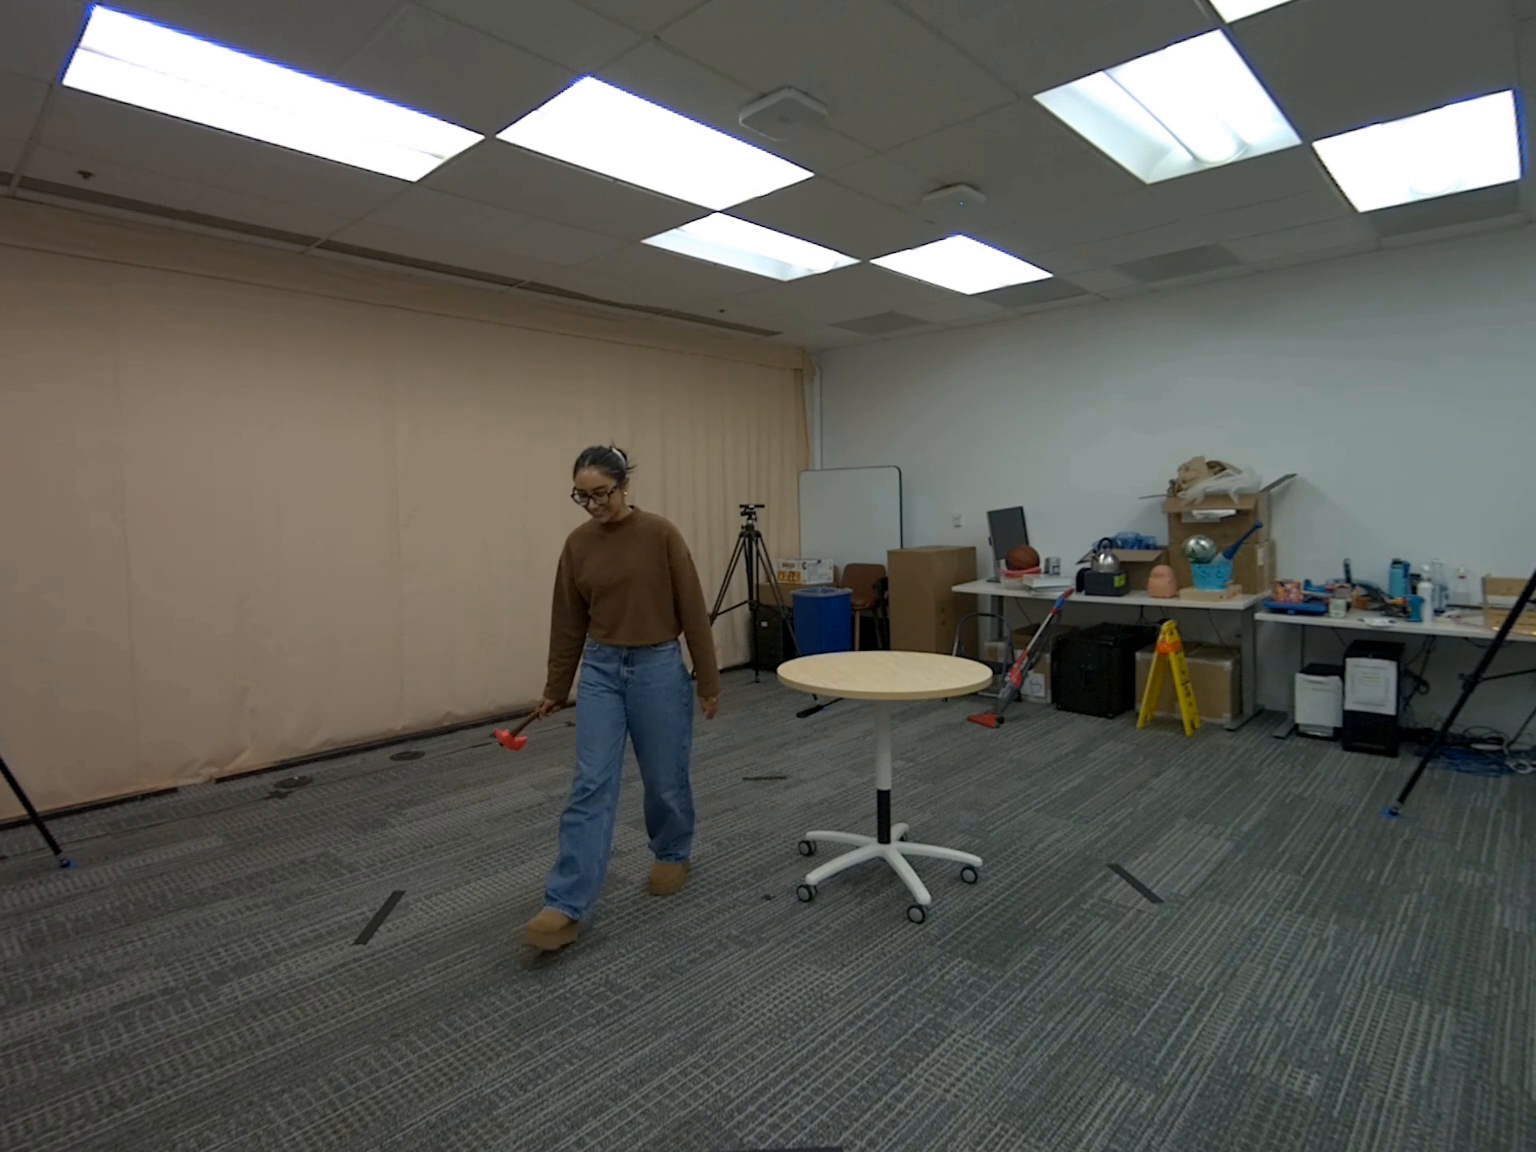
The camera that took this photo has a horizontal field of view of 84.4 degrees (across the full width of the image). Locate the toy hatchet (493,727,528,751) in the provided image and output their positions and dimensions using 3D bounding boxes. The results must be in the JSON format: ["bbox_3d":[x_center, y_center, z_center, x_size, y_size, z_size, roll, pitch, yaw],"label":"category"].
[{"bbox_3d":[-0.835,0.535,2.994,0.268,0.128,0.030,-19,24,-10],"label":"toy hatchet"}]
